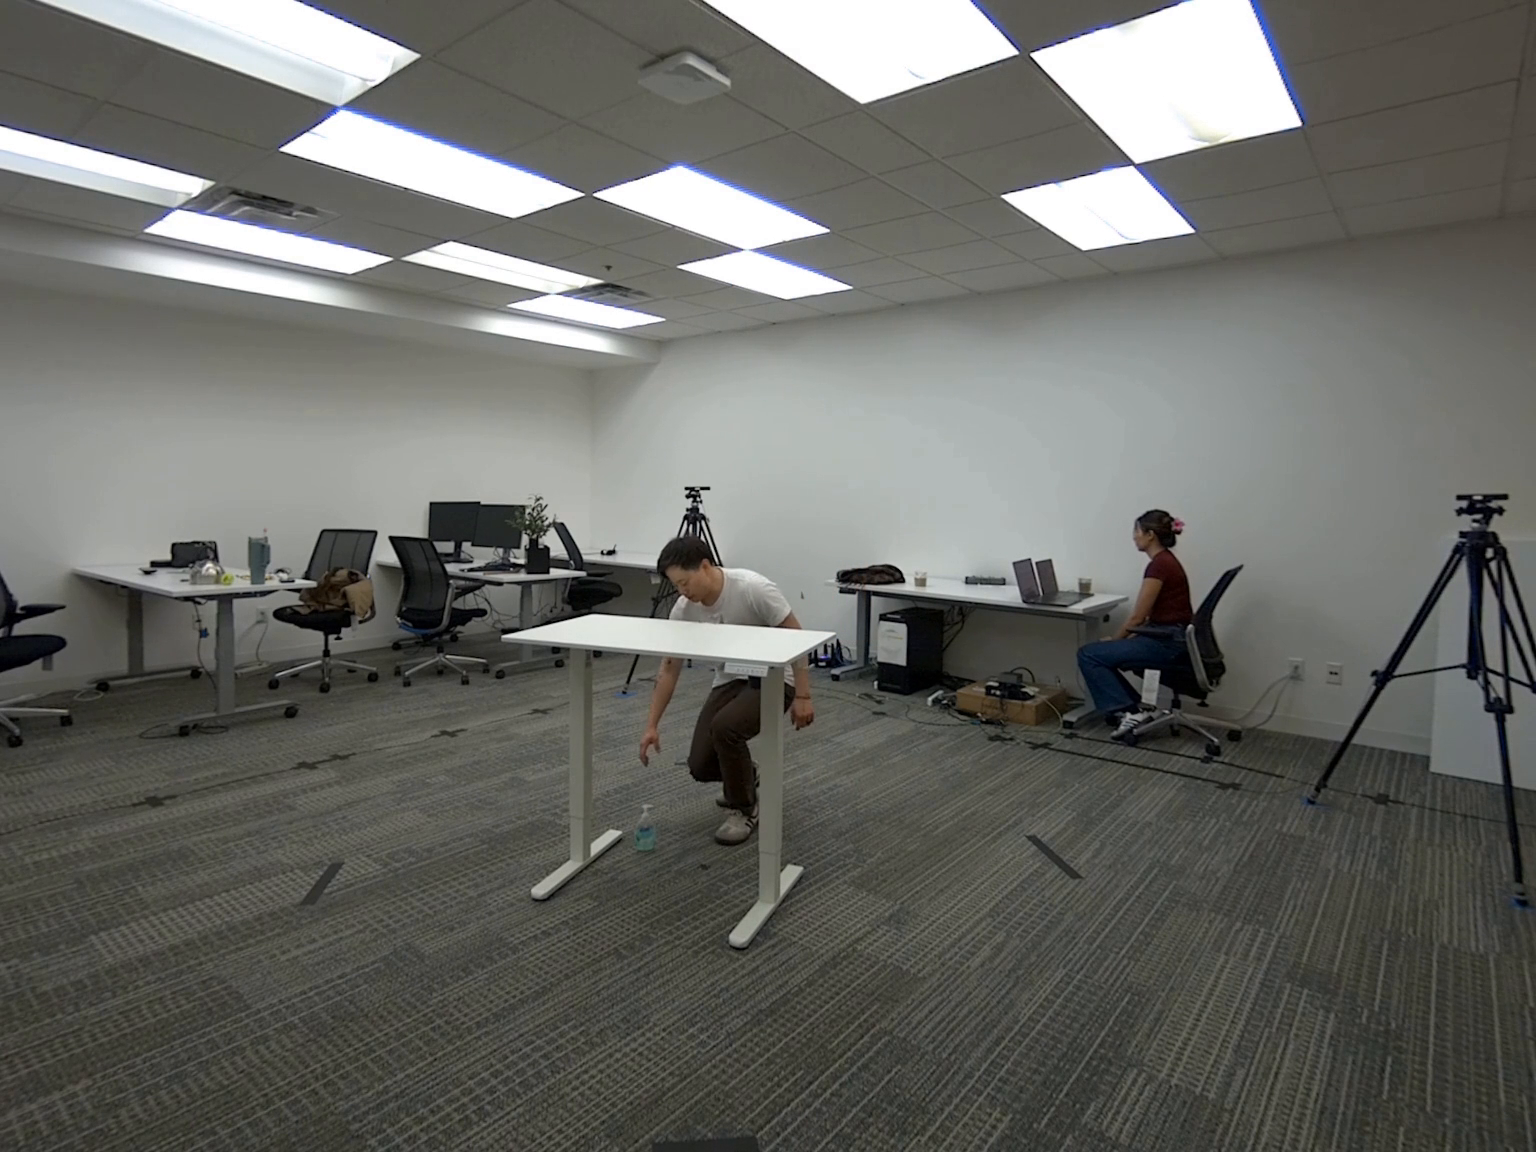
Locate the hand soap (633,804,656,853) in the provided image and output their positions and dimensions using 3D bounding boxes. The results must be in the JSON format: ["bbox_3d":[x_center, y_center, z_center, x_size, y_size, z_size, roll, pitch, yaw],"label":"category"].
[{"bbox_3d":[-0.482,0.966,3.270,0.084,0.168,0.044,1,1,-6],"label":"hand soap"}]
